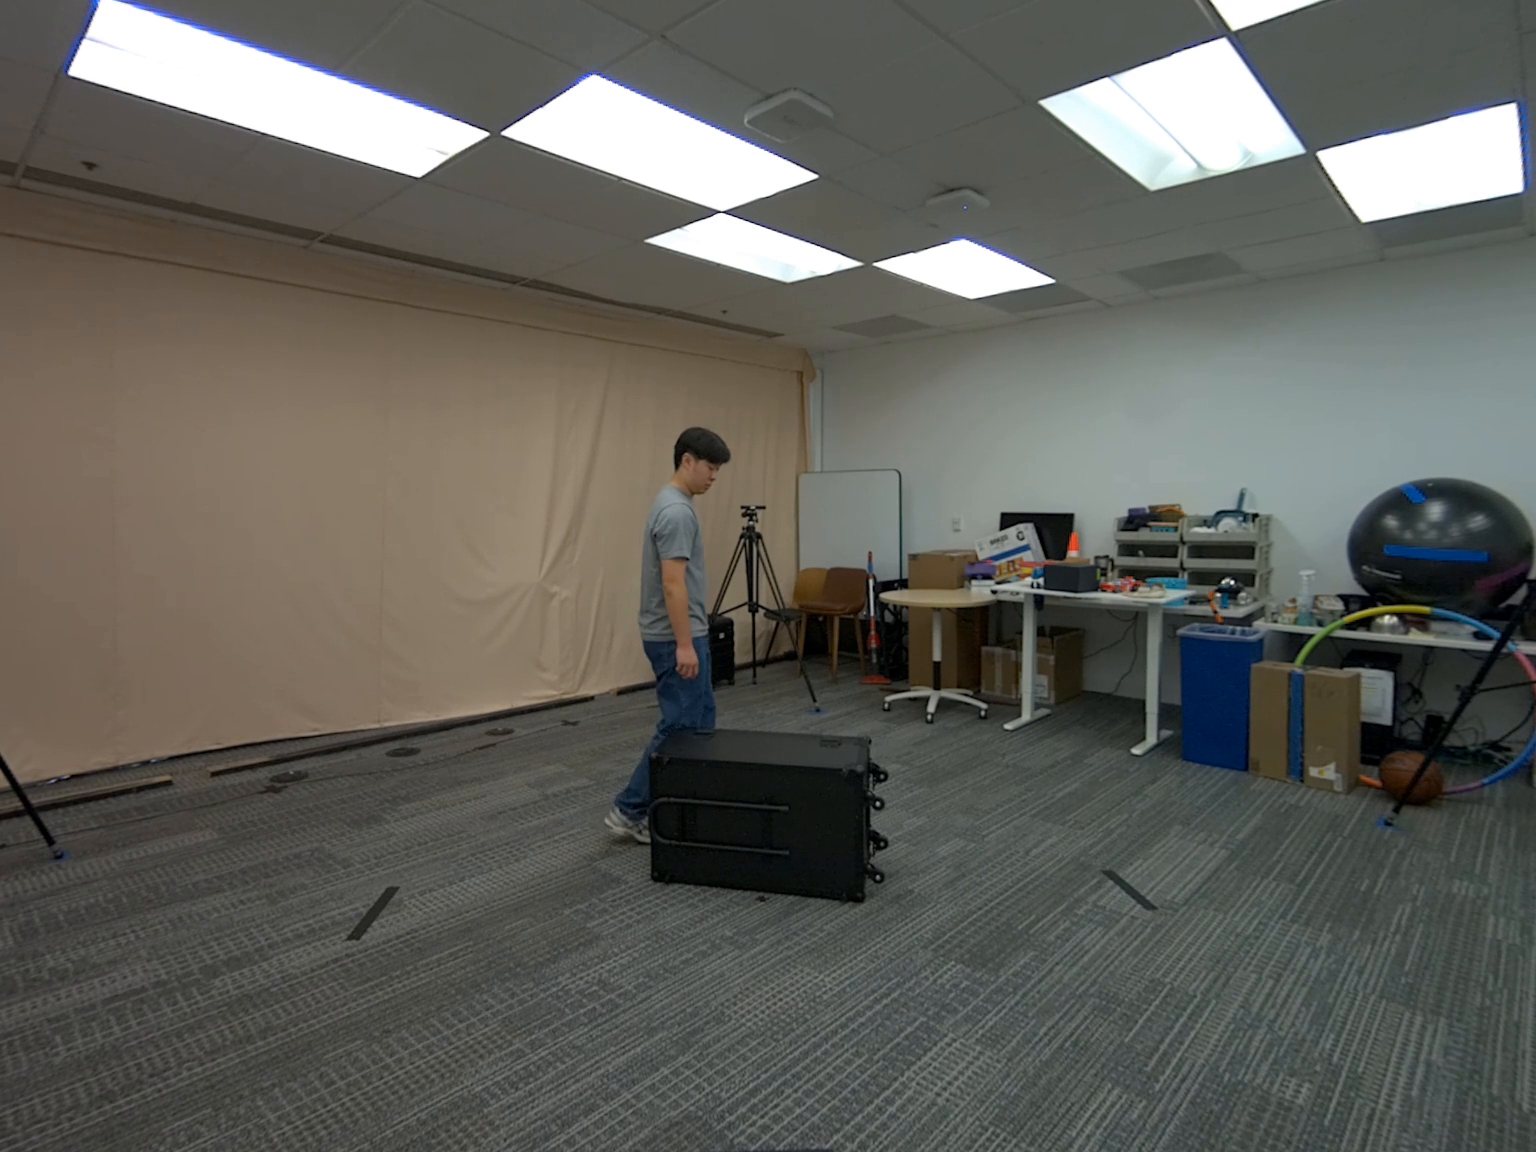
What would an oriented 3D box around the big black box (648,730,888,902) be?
[{"bbox_3d":[0.017,0.871,3.155,0.874,0.519,0.392,1,7,13],"label":"big black box"}]
